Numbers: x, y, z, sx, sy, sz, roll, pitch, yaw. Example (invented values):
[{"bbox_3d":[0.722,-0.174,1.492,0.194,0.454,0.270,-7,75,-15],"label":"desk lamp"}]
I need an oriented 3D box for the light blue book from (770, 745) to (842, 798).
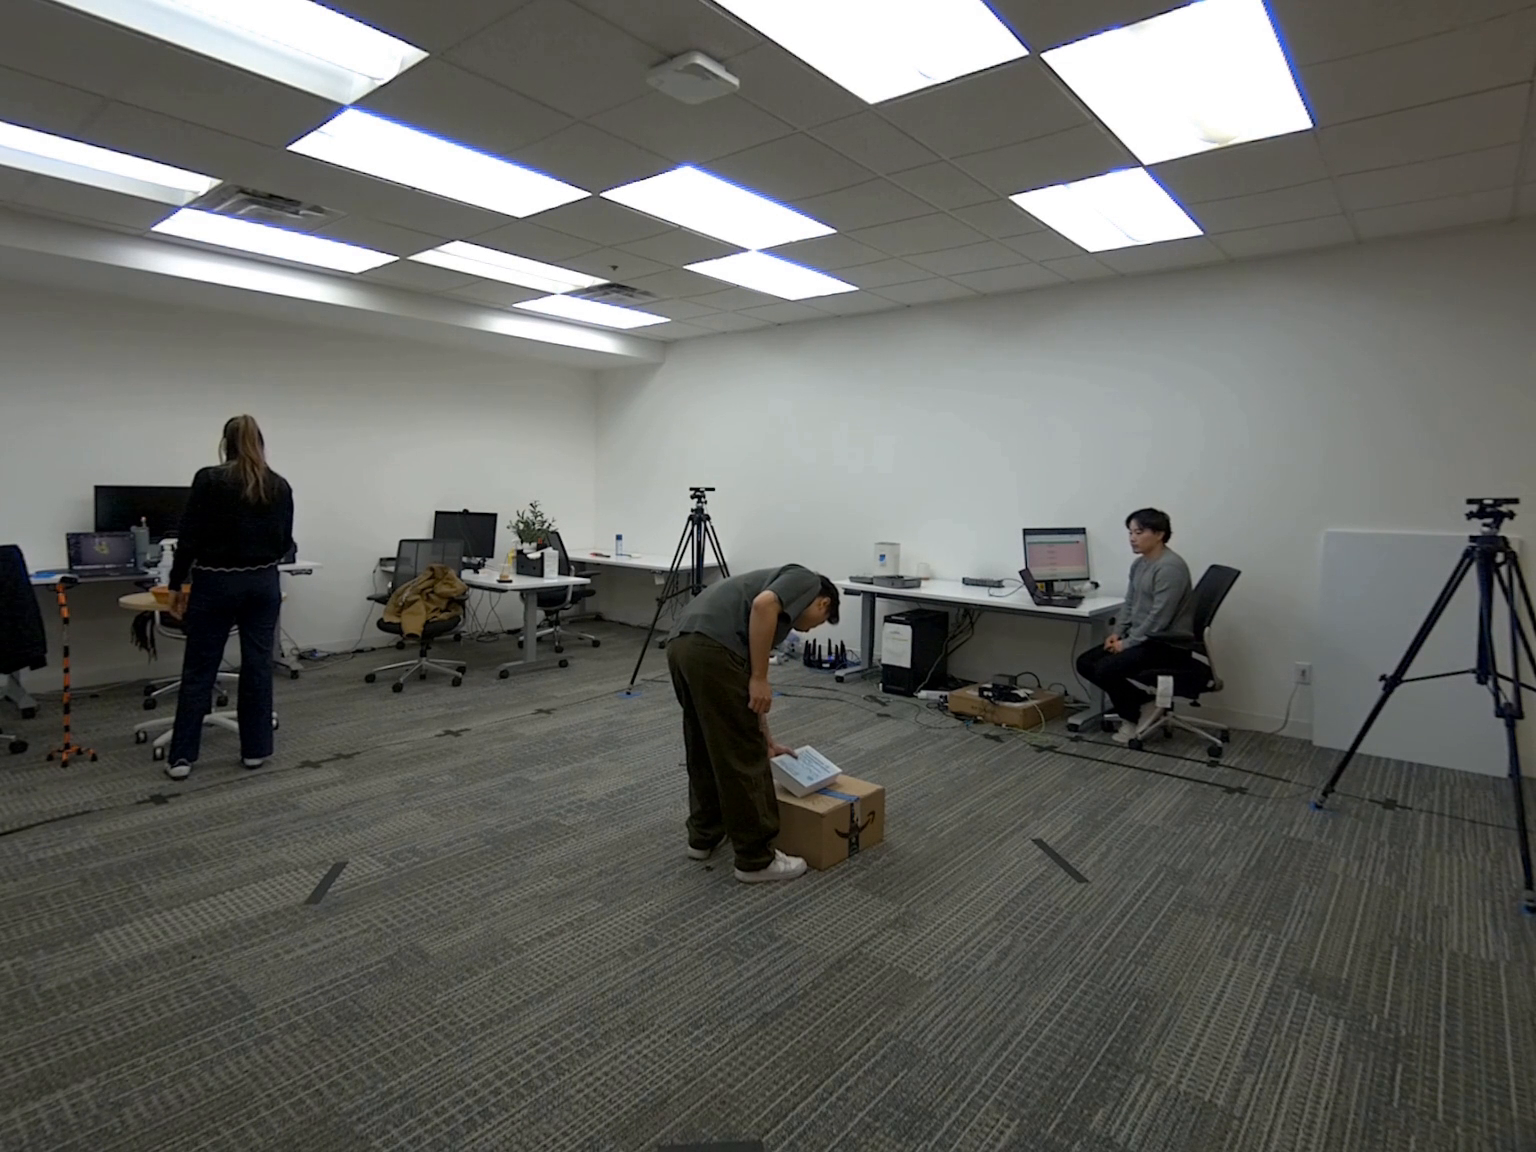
[{"bbox_3d":[0.139,0.775,3.401,0.199,0.058,0.253,30,22,32],"label":"light blue book"}]
